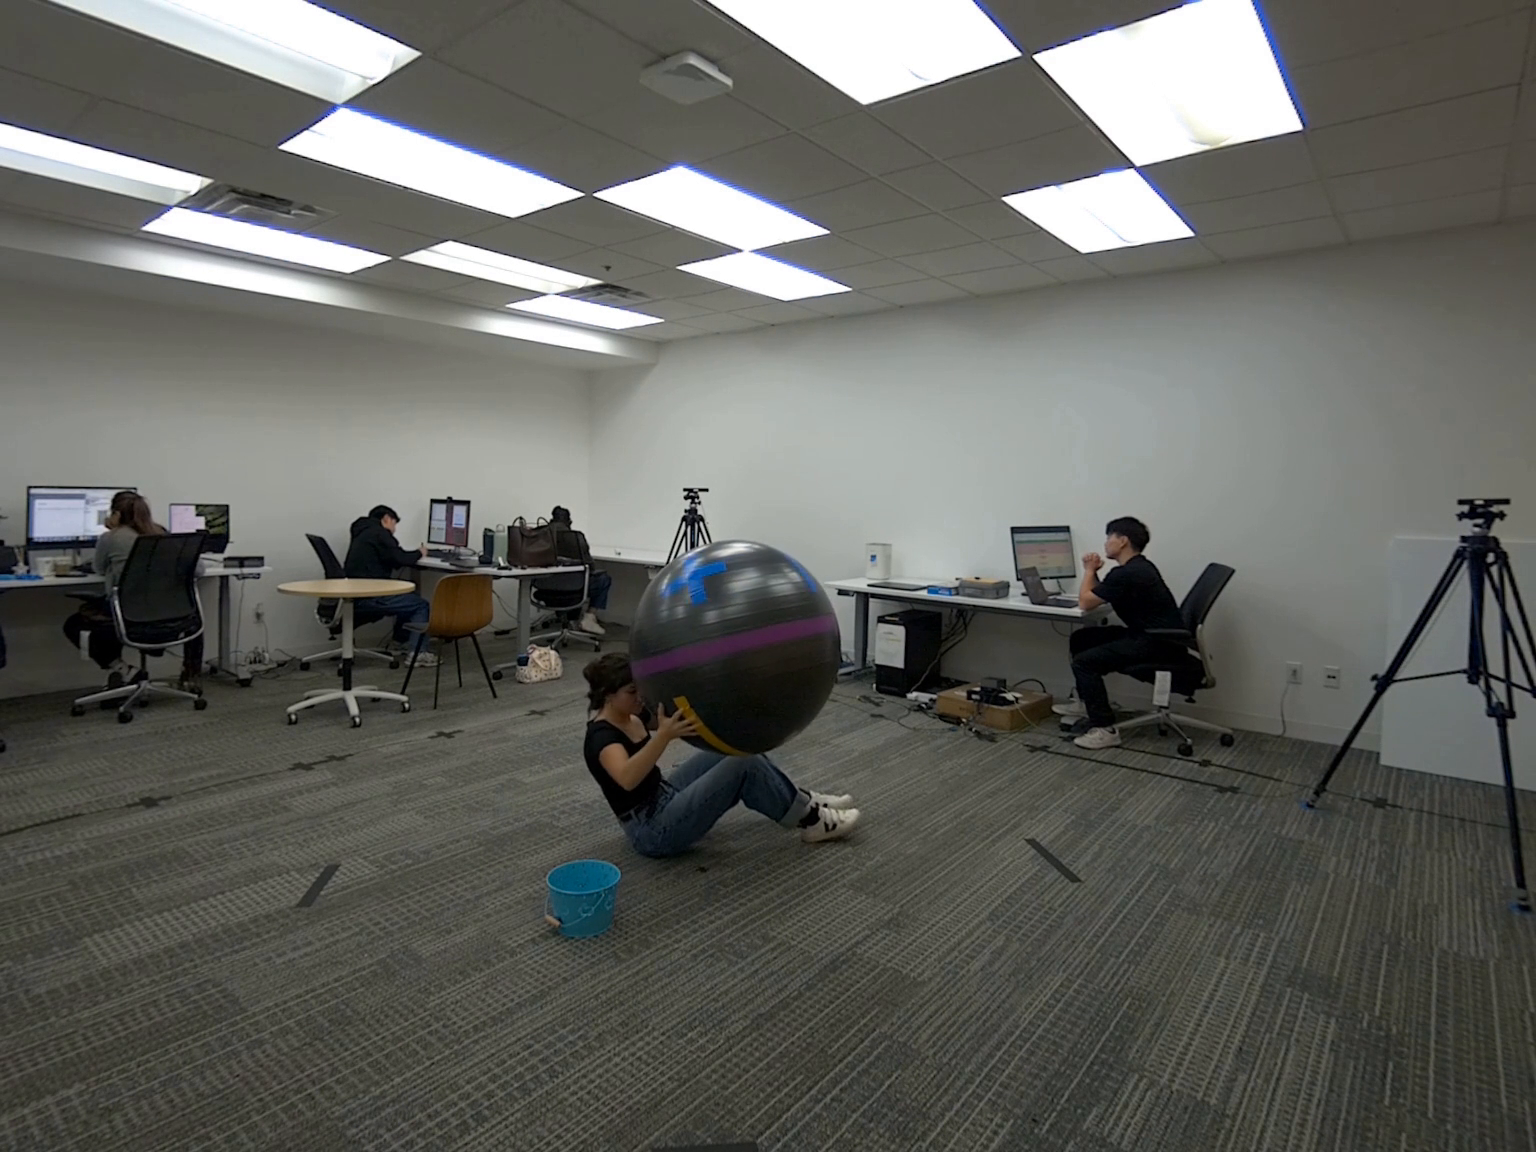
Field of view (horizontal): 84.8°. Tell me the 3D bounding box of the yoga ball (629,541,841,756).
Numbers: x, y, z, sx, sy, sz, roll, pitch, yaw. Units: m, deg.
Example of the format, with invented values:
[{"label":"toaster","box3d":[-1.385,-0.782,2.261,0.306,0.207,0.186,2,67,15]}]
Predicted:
[{"label":"yoga ball","box3d":[-0.143,0.258,3.057,0.757,0.756,0.761,1,4,-2]}]
